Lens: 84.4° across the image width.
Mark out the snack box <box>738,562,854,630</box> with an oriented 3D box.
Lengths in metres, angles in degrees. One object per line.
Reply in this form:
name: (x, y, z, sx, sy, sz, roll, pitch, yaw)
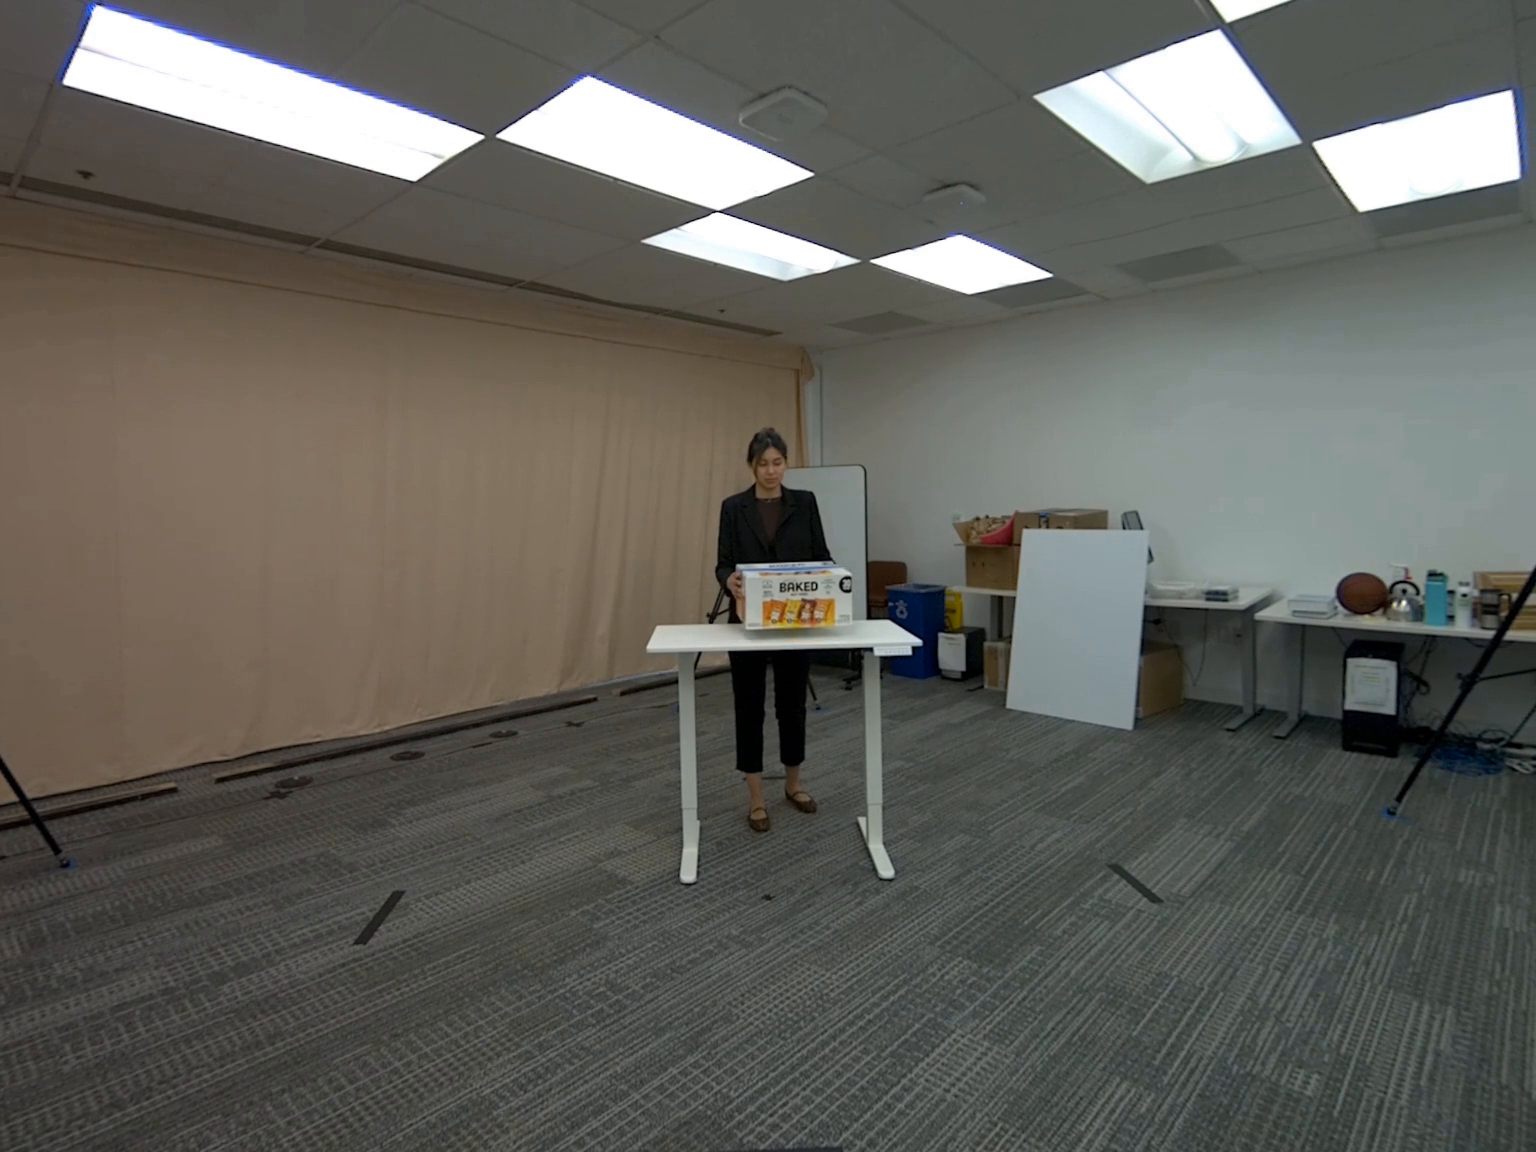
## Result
snack box: (0.098, 0.070, 3.327, 0.402, 0.204, 0.344, -2, 8, -7)
